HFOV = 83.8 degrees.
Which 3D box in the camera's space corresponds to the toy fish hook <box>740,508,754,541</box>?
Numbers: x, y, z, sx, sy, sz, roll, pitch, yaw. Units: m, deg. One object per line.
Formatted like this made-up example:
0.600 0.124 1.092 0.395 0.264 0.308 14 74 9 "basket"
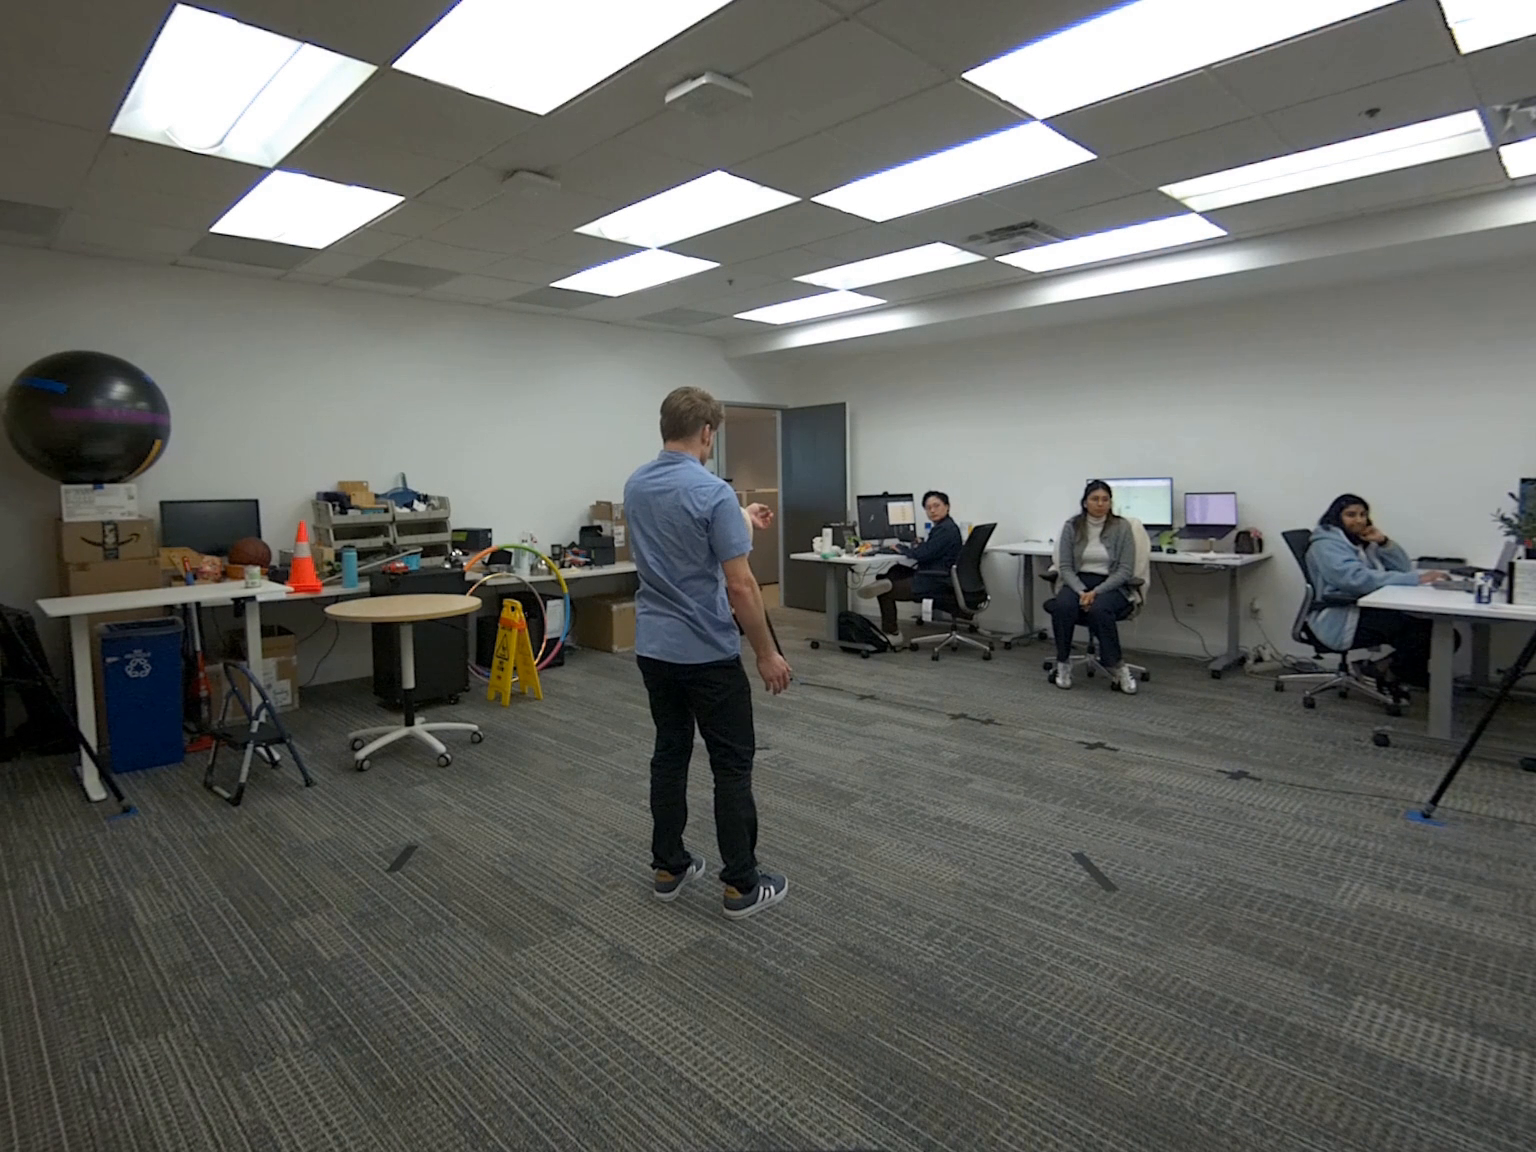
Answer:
-0.161 -0.027 3.219 0.047 0.500 0.233 -4 21 -37 "toy fish hook"
